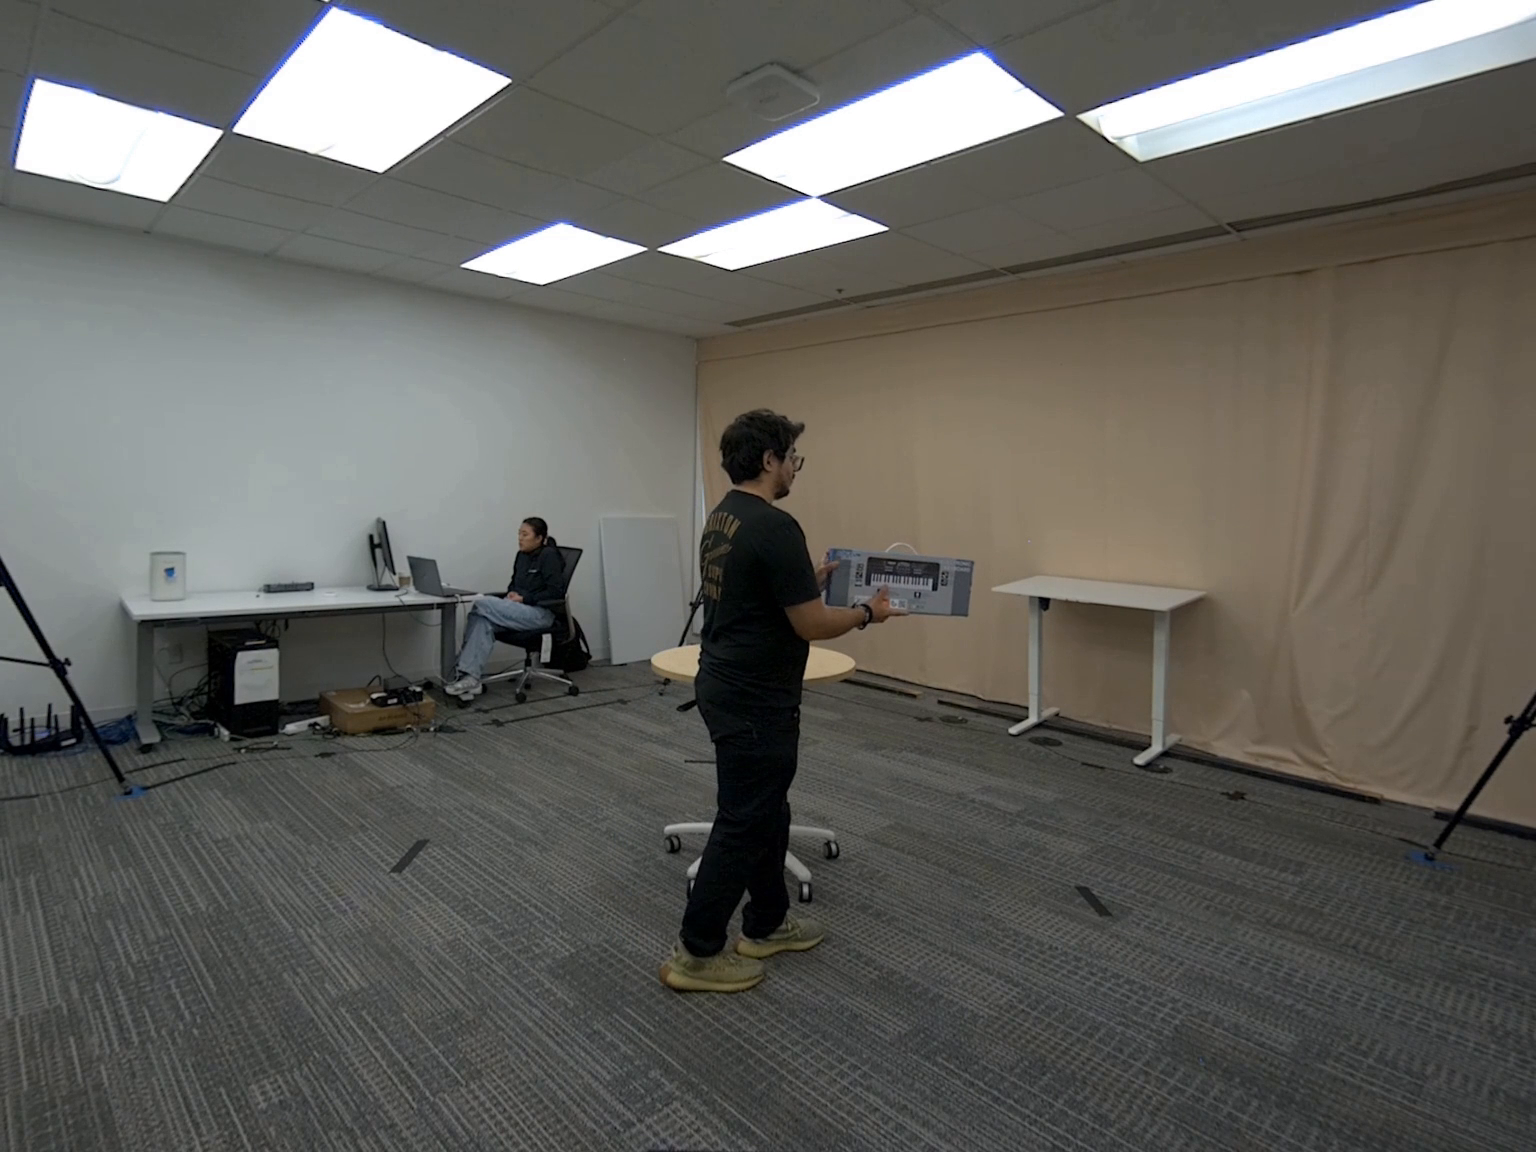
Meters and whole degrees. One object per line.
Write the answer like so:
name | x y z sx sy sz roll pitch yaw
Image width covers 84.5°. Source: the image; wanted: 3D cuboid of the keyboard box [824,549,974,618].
keyboard box | 0.393 0.023 2.528 0.433 0.176 0.059 4 2 -9
